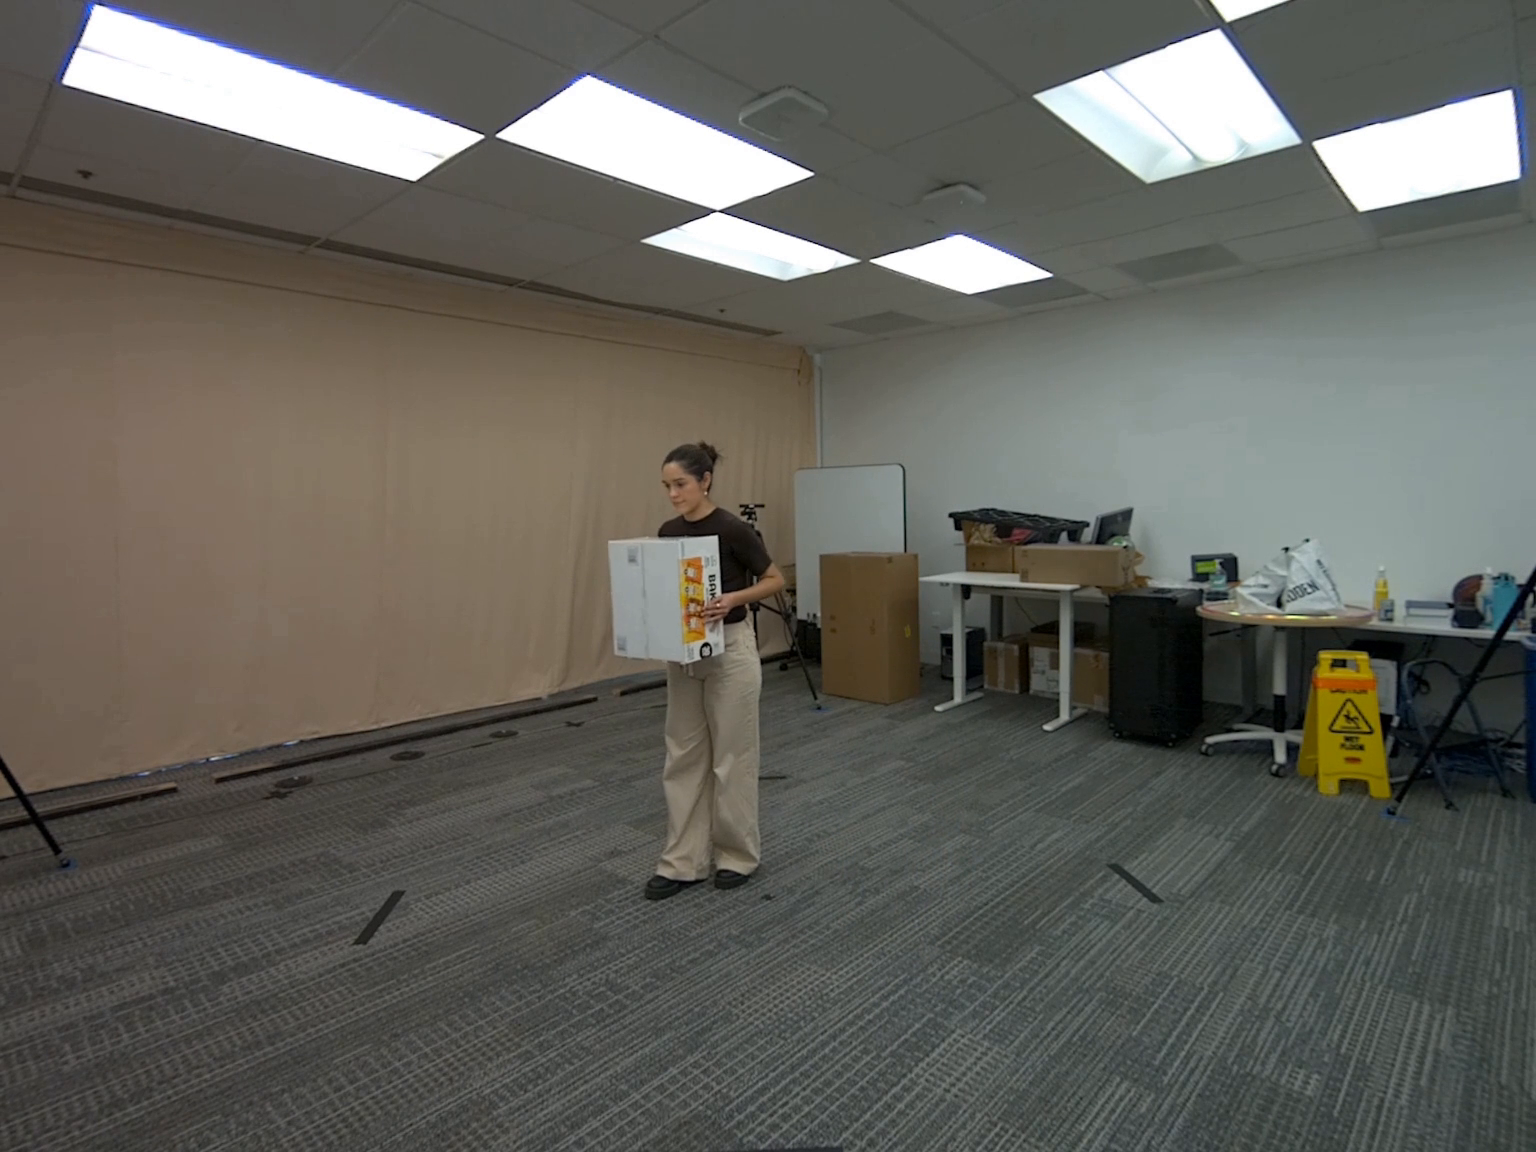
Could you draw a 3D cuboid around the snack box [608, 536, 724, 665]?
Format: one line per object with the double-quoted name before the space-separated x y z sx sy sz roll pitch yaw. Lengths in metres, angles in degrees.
"snack box" -0.353 0.076 2.919 0.351 0.404 0.200 1 6 39
